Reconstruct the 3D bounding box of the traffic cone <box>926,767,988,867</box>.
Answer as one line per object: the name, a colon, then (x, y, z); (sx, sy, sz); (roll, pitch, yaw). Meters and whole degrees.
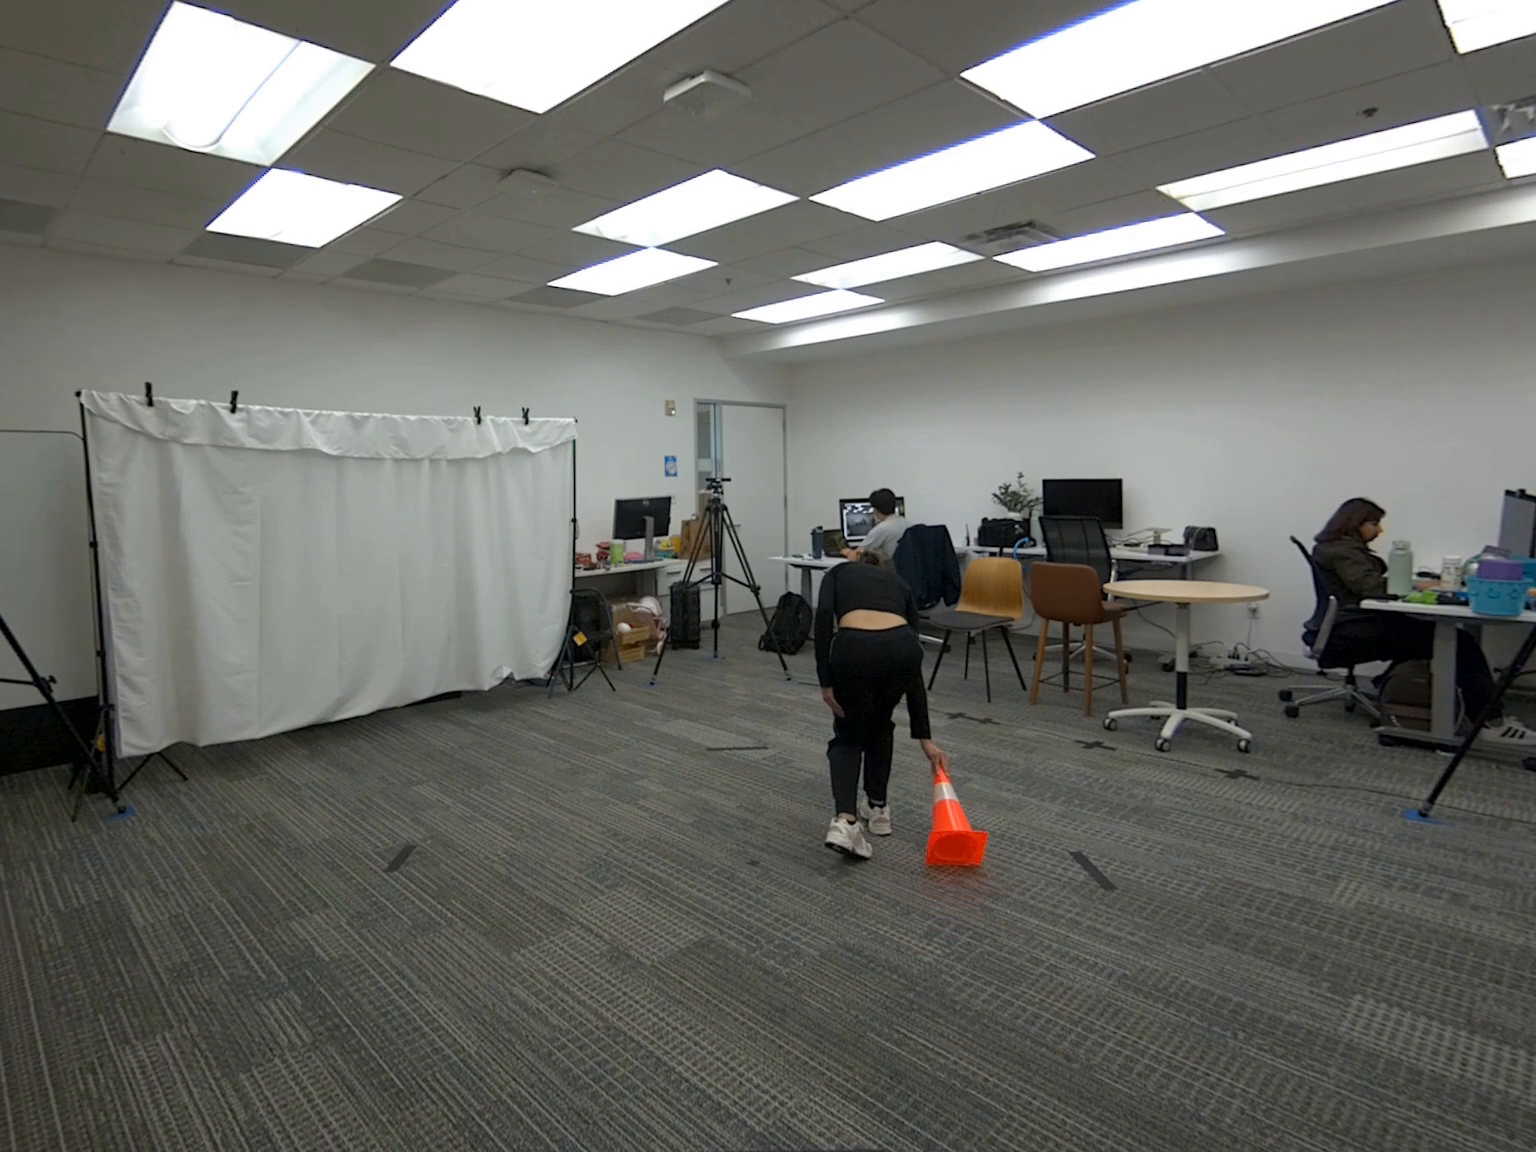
traffic cone: (0.668, 0.841, 3.152); (0.205, 0.198, 0.393); (1, 37, 1)
